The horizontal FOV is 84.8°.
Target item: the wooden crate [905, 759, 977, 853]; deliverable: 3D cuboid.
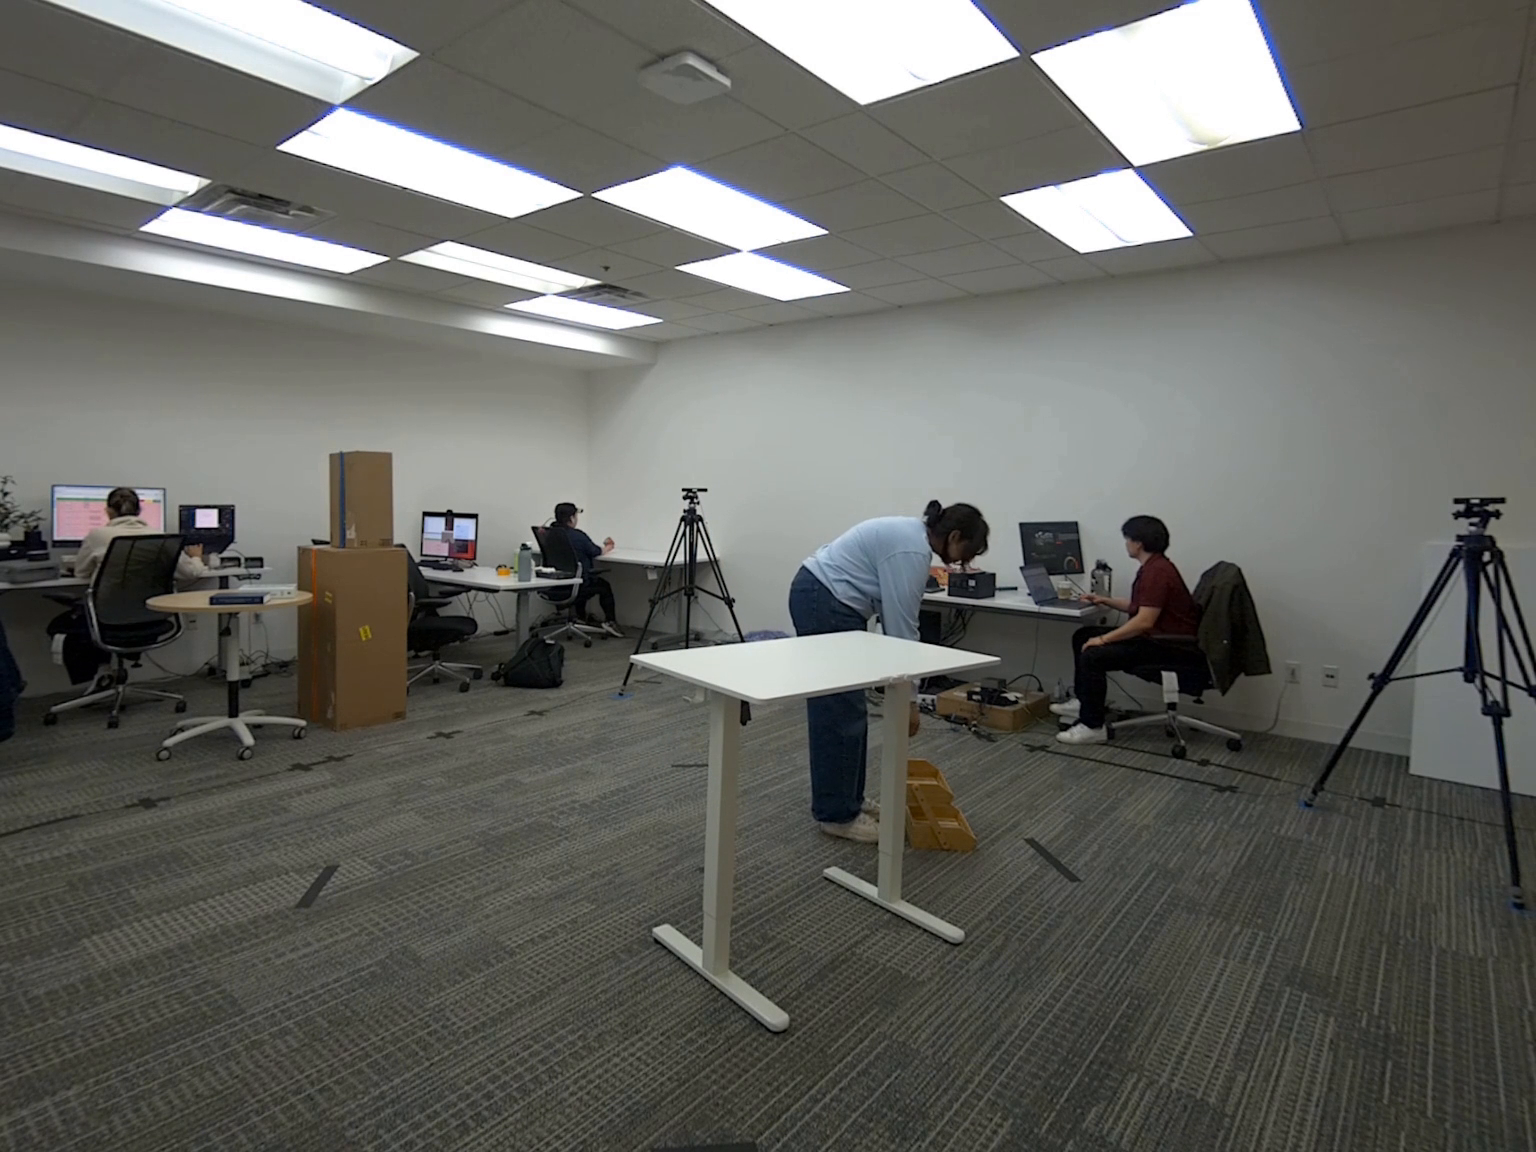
[{"bbox_3d":[0.674,0.925,3.478,0.303,0.272,0.325,0,4,2],"label":"wooden crate"}]
